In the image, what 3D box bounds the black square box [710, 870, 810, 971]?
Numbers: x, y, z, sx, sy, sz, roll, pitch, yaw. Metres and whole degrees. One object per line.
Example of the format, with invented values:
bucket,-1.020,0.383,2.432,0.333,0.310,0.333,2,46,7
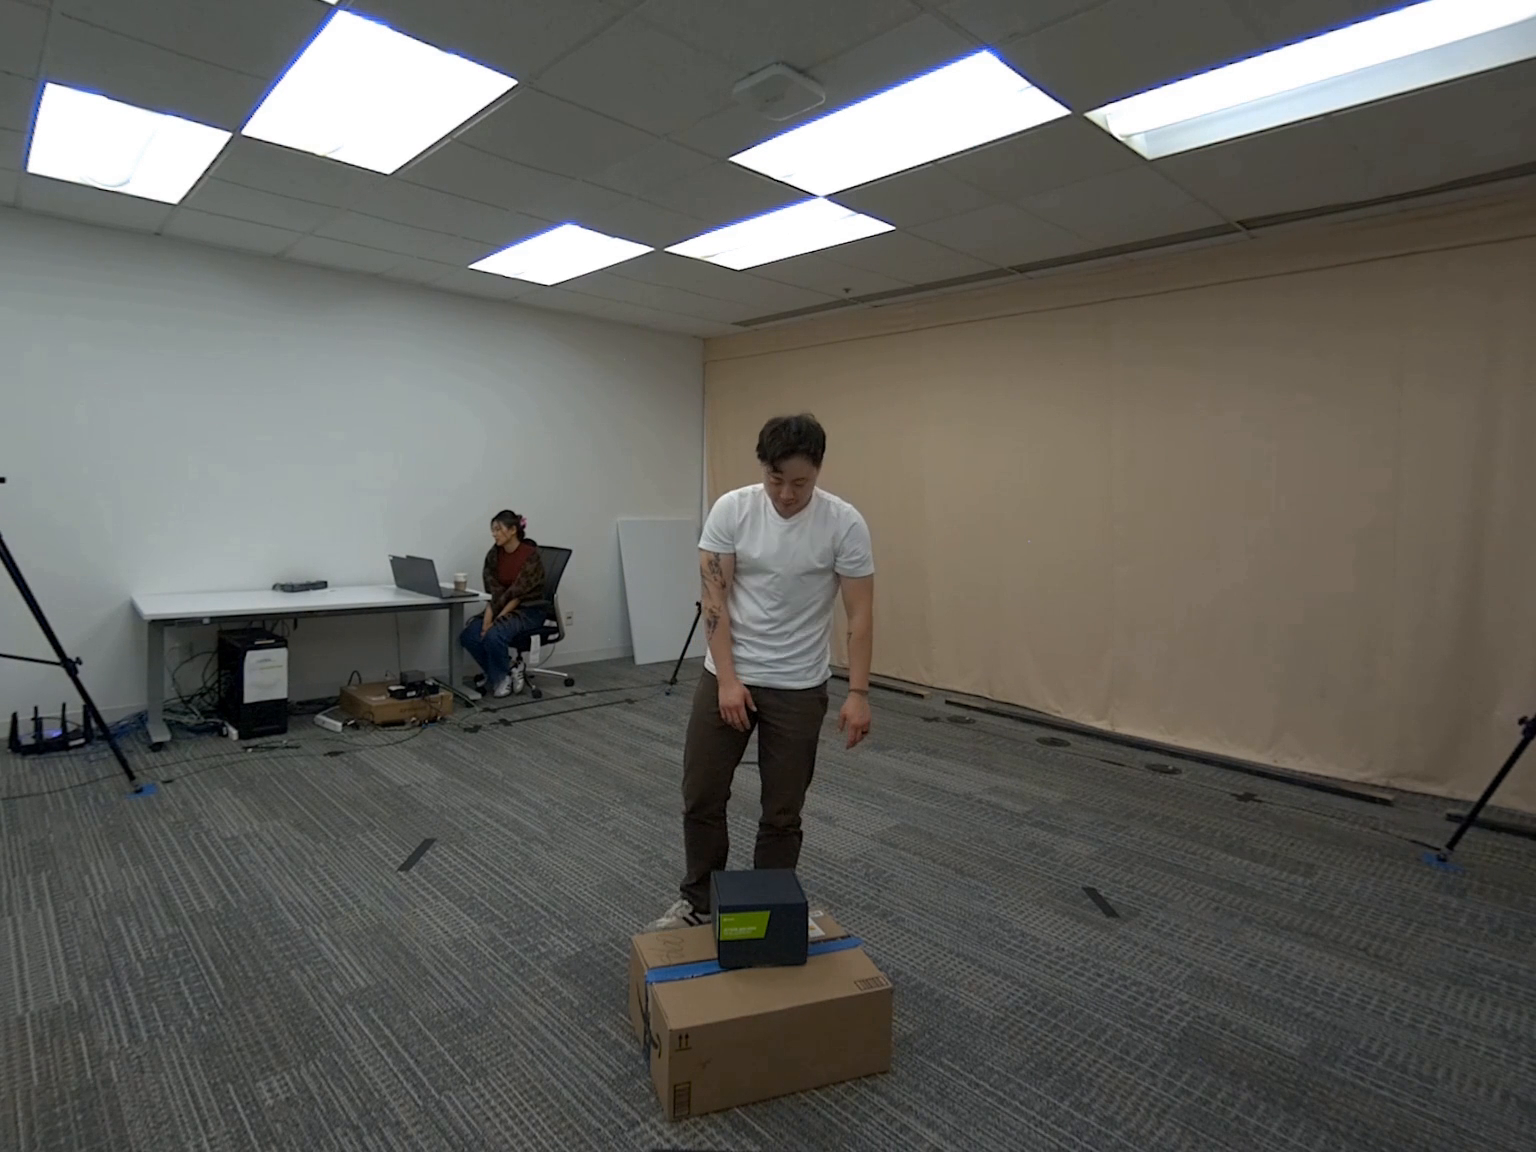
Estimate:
black square box,-0.037,0.881,2.212,0.226,0.155,0.219,0,3,-9
